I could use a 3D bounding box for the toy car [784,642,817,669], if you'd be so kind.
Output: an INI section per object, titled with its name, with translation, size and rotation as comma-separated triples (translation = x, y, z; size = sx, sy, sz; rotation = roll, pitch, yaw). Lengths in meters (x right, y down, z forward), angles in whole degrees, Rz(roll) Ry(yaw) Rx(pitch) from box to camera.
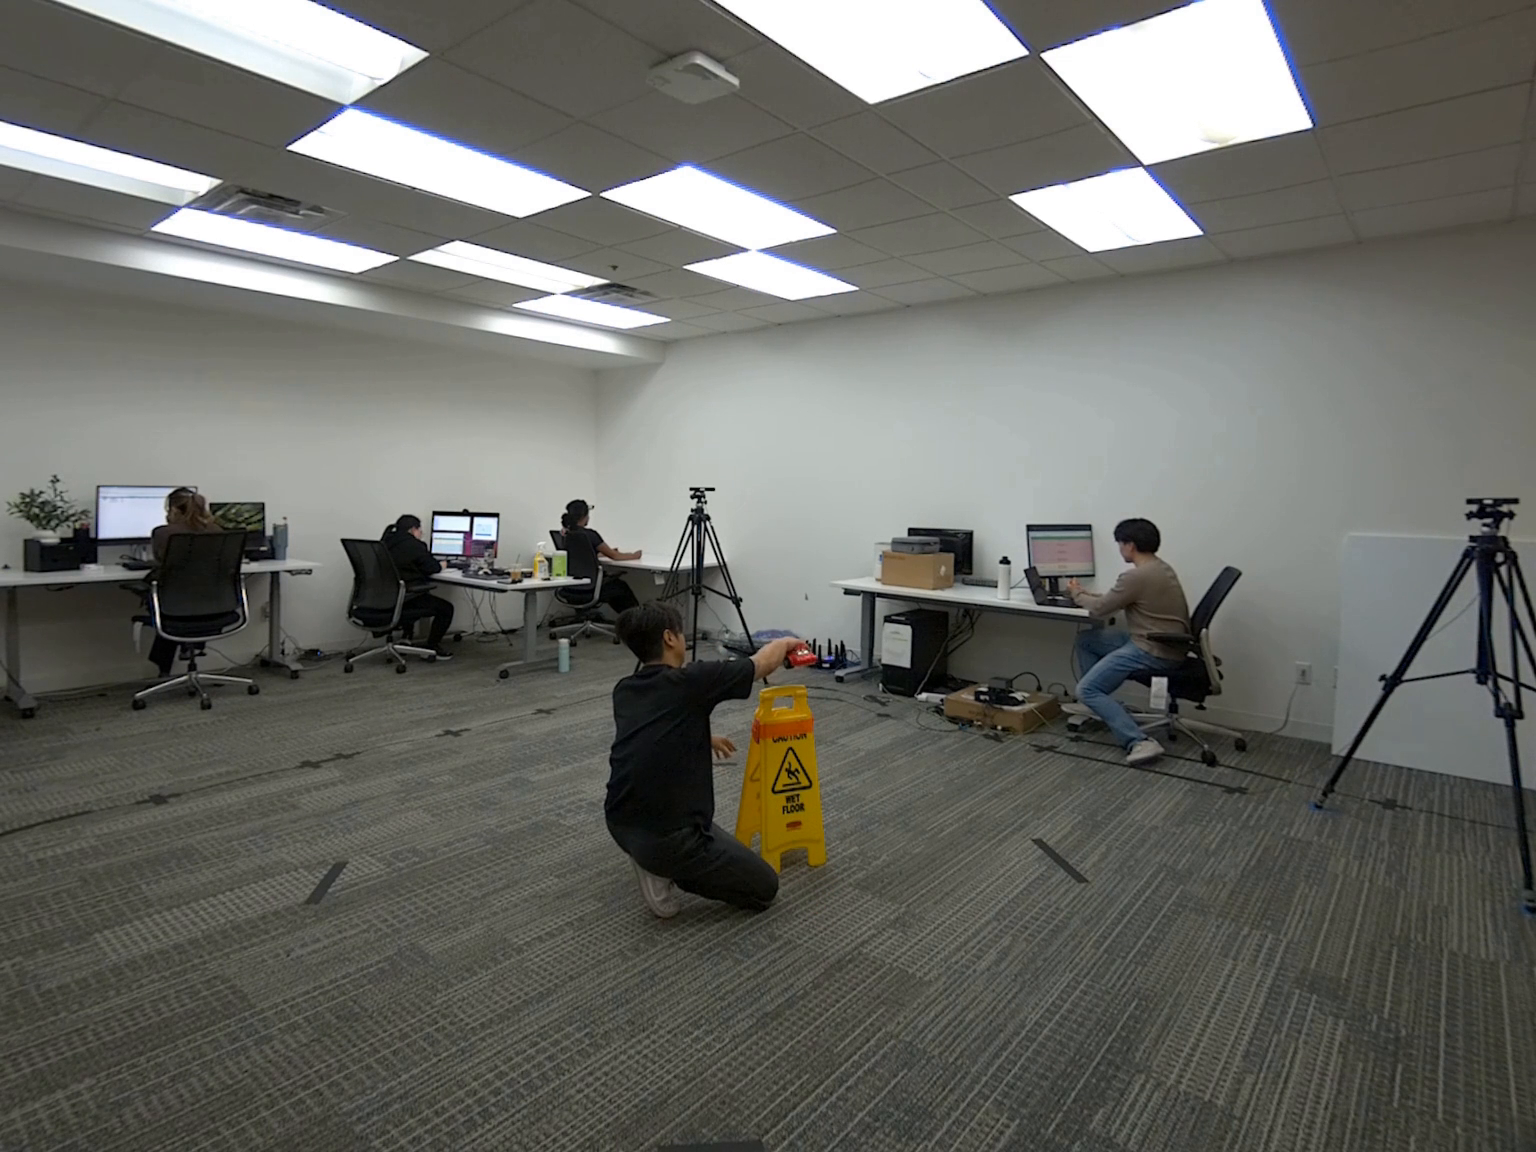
[toy car]
translation = 0.082, 0.307, 3.238
size = 0.127, 0.083, 0.261
rotation = -6, 3, -31
